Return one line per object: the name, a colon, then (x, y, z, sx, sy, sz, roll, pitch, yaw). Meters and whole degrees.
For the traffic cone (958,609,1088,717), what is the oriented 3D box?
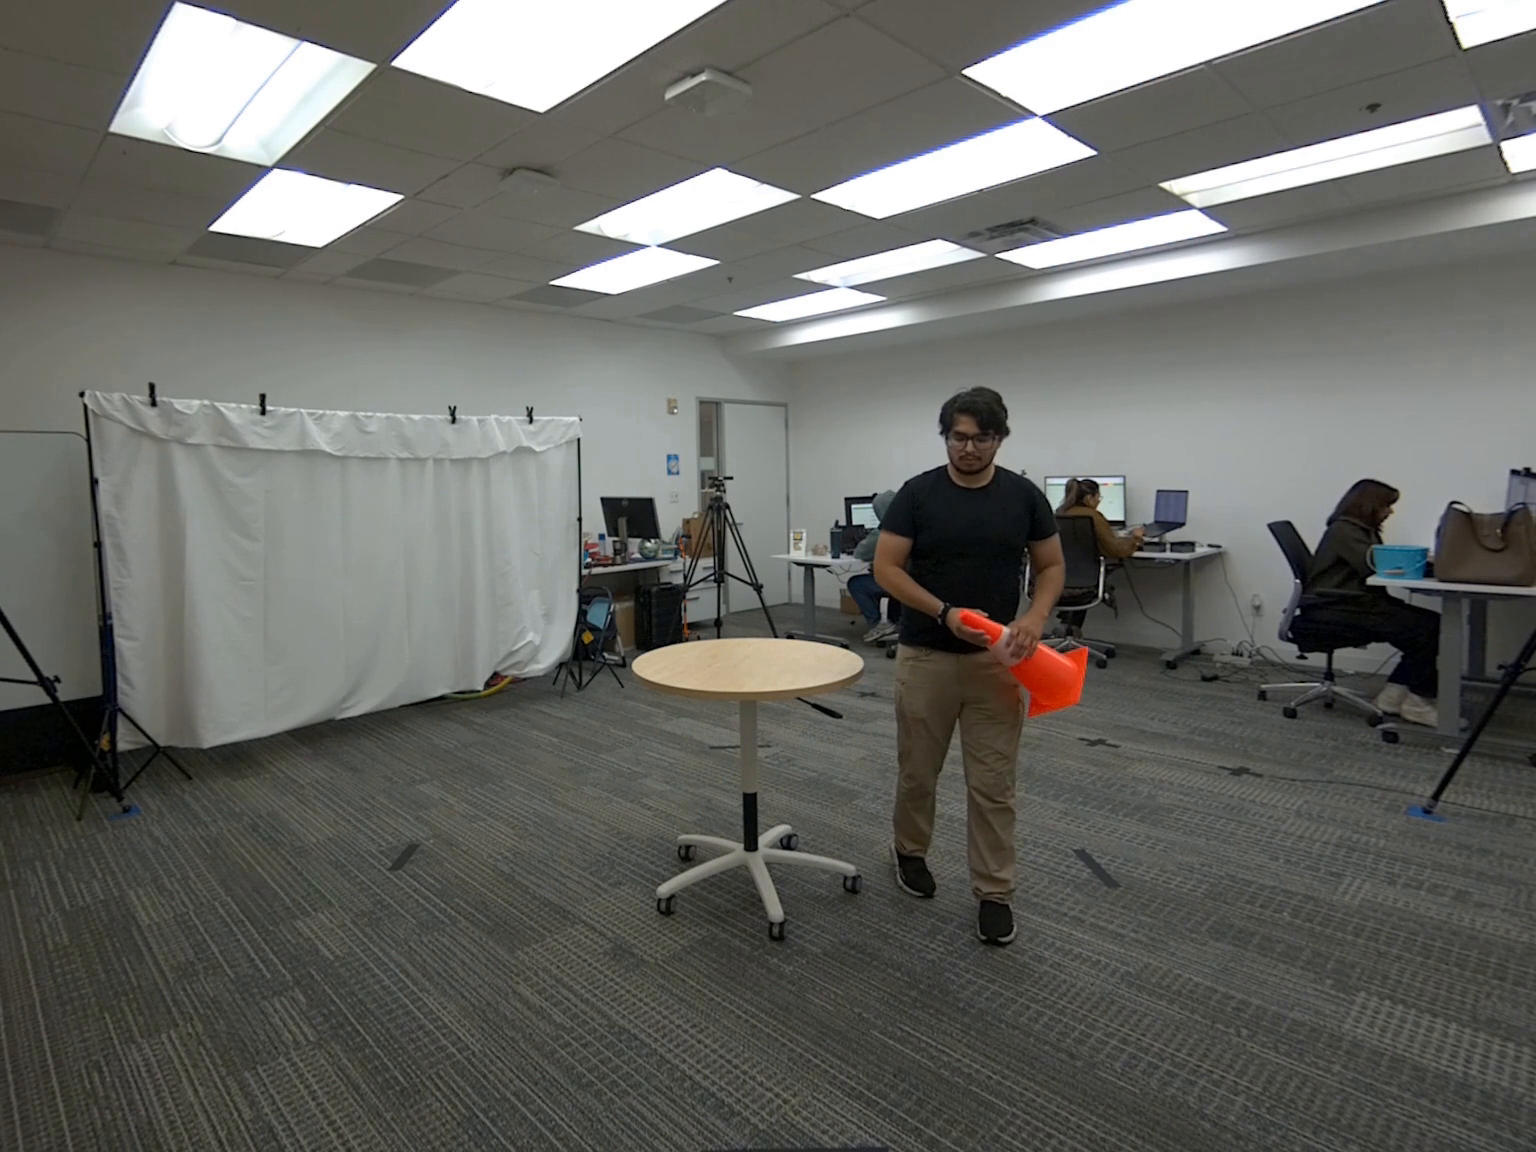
traffic cone: (0.707, 0.215, 2.479, 0.380, 0.207, 0.203, 31, -27, -8)
